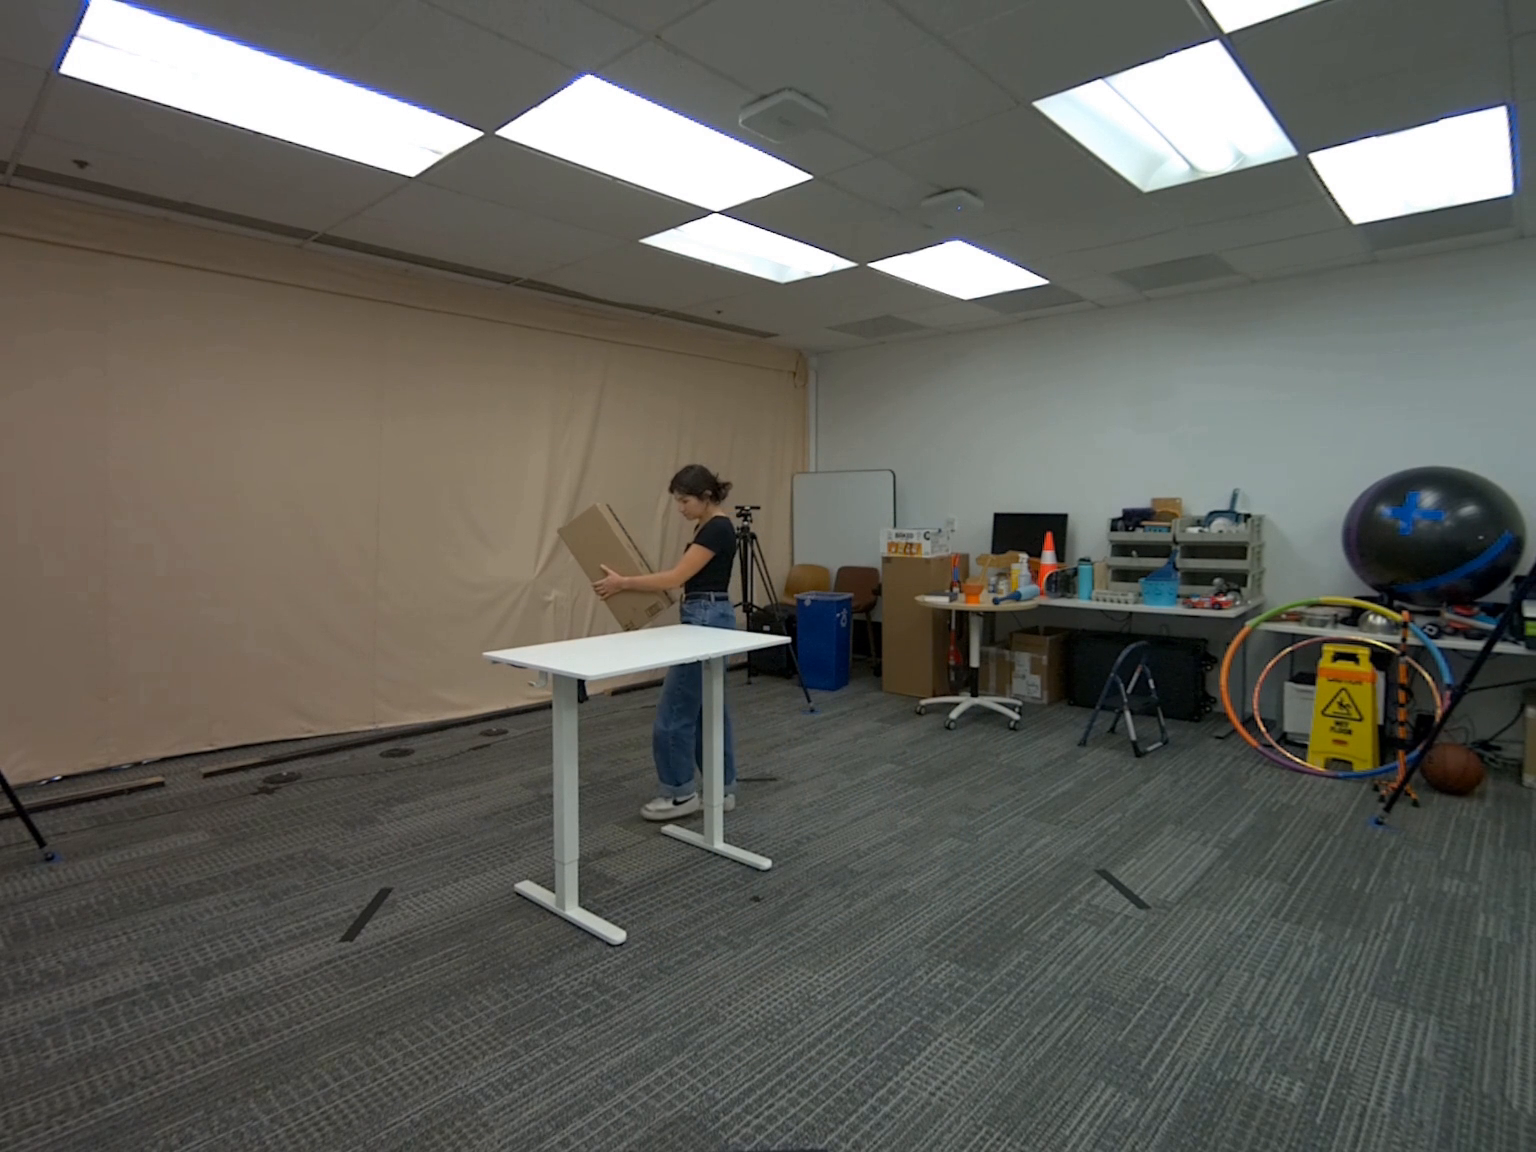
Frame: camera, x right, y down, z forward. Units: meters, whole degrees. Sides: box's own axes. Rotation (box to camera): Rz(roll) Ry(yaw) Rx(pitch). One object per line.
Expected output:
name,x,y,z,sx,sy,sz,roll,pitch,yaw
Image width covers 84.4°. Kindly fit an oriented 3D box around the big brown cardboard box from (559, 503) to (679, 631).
big brown cardboard box,-0.694,-0.045,3.914,0.233,0.589,0.417,-34,0,2
